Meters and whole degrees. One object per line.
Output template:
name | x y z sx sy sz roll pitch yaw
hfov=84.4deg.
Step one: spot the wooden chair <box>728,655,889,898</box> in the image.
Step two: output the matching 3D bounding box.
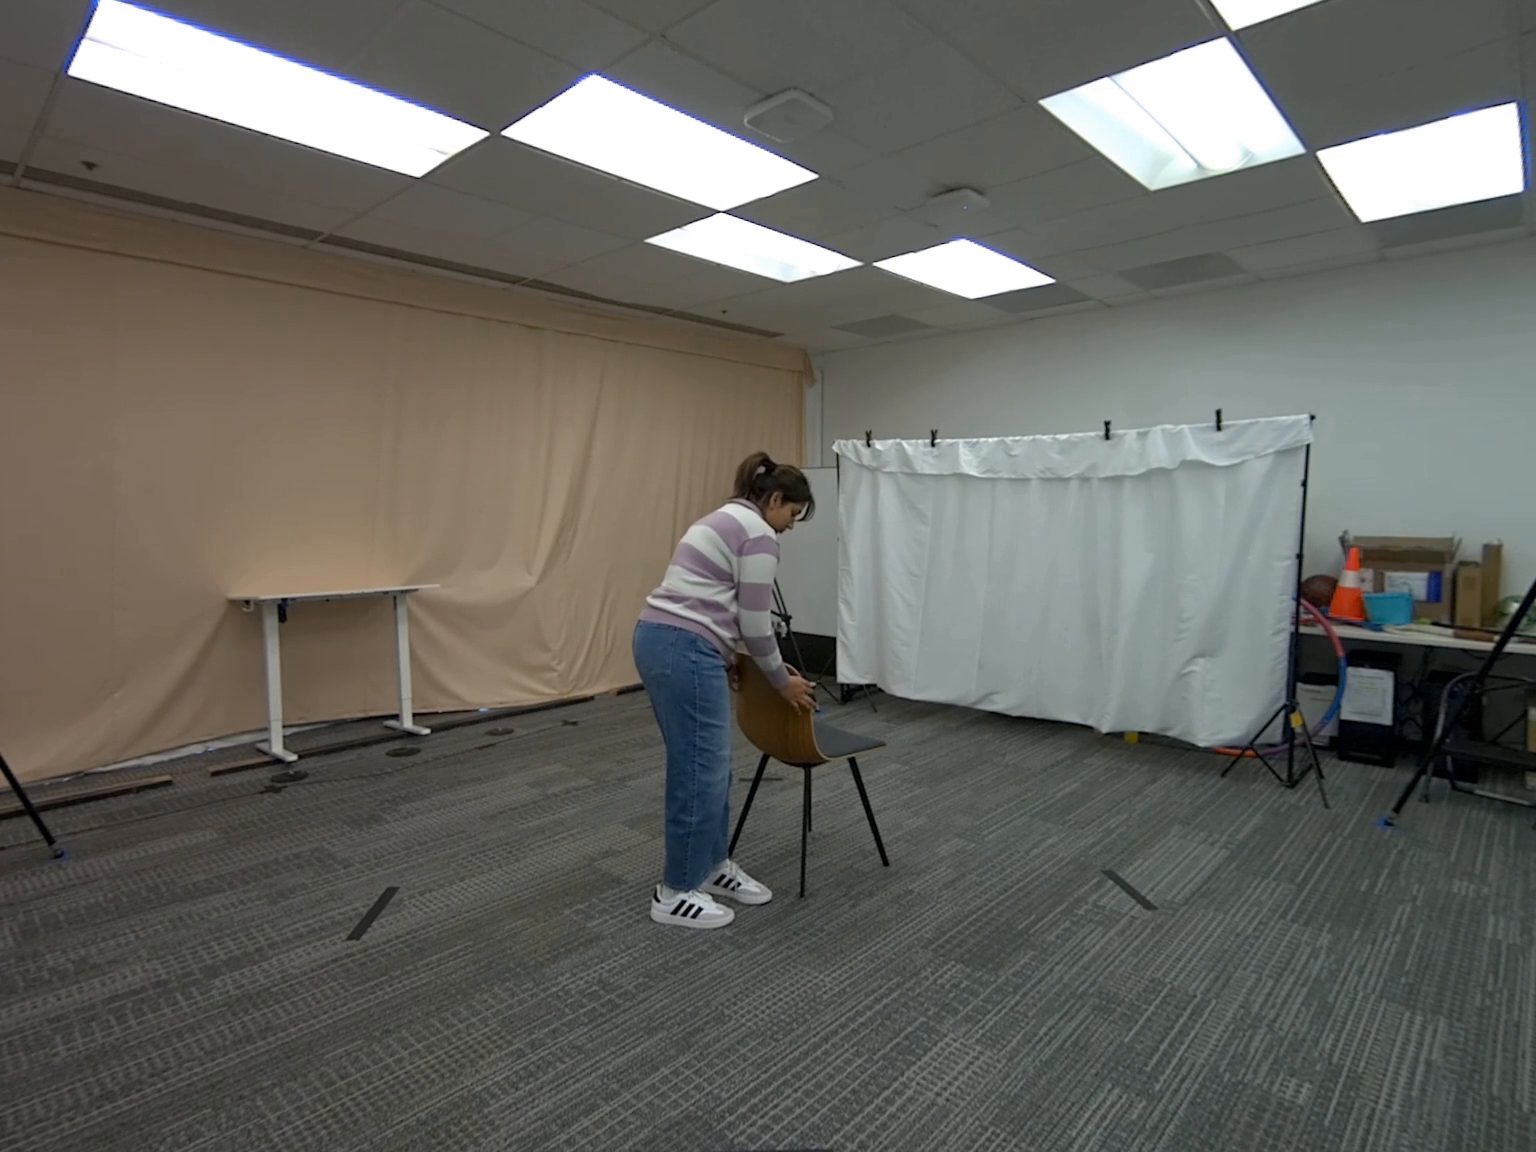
wooden chair | 0.158 0.691 3.272 0.508 0.874 0.493 -8 7 -38
